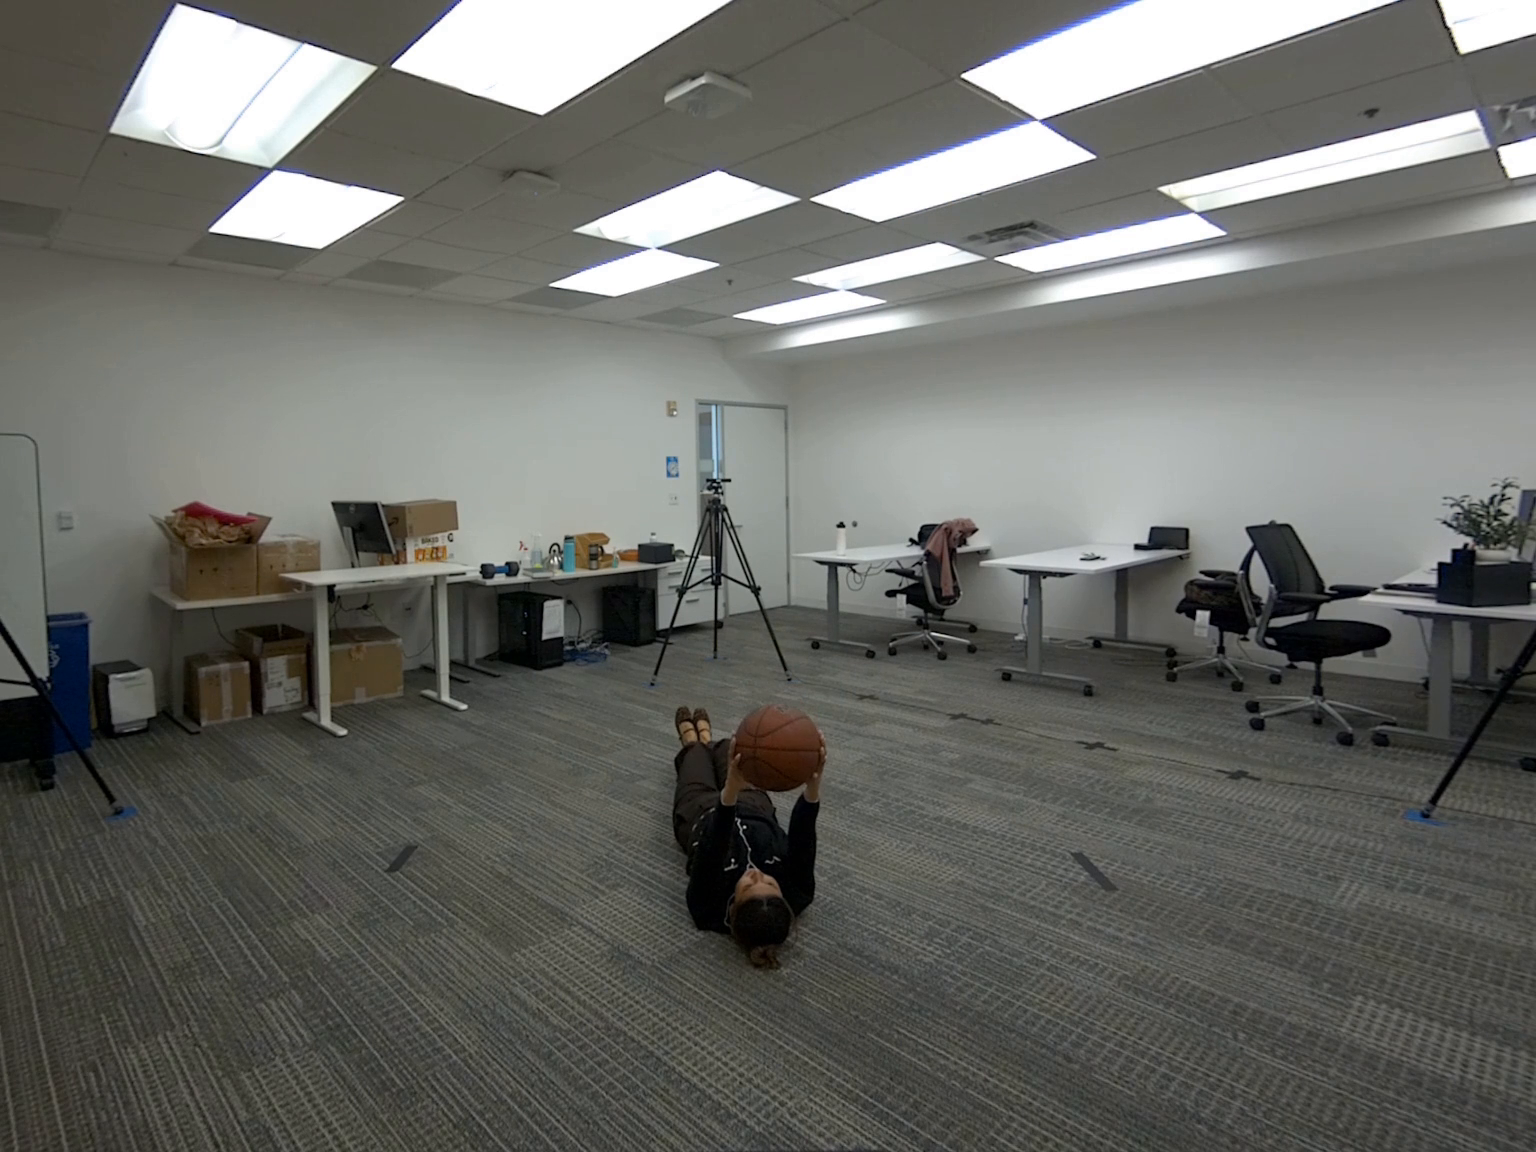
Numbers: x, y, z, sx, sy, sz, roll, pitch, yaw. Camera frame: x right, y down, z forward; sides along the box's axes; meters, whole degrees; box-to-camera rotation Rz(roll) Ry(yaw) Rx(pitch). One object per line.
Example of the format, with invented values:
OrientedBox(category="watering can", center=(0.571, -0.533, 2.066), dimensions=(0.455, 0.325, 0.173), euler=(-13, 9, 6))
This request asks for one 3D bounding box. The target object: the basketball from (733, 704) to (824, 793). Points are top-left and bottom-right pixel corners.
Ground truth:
OrientedBox(category="basketball", center=(0.031, 0.462, 2.341), dimensions=(0.236, 0.235, 0.237), euler=(-1, 5, -2))
